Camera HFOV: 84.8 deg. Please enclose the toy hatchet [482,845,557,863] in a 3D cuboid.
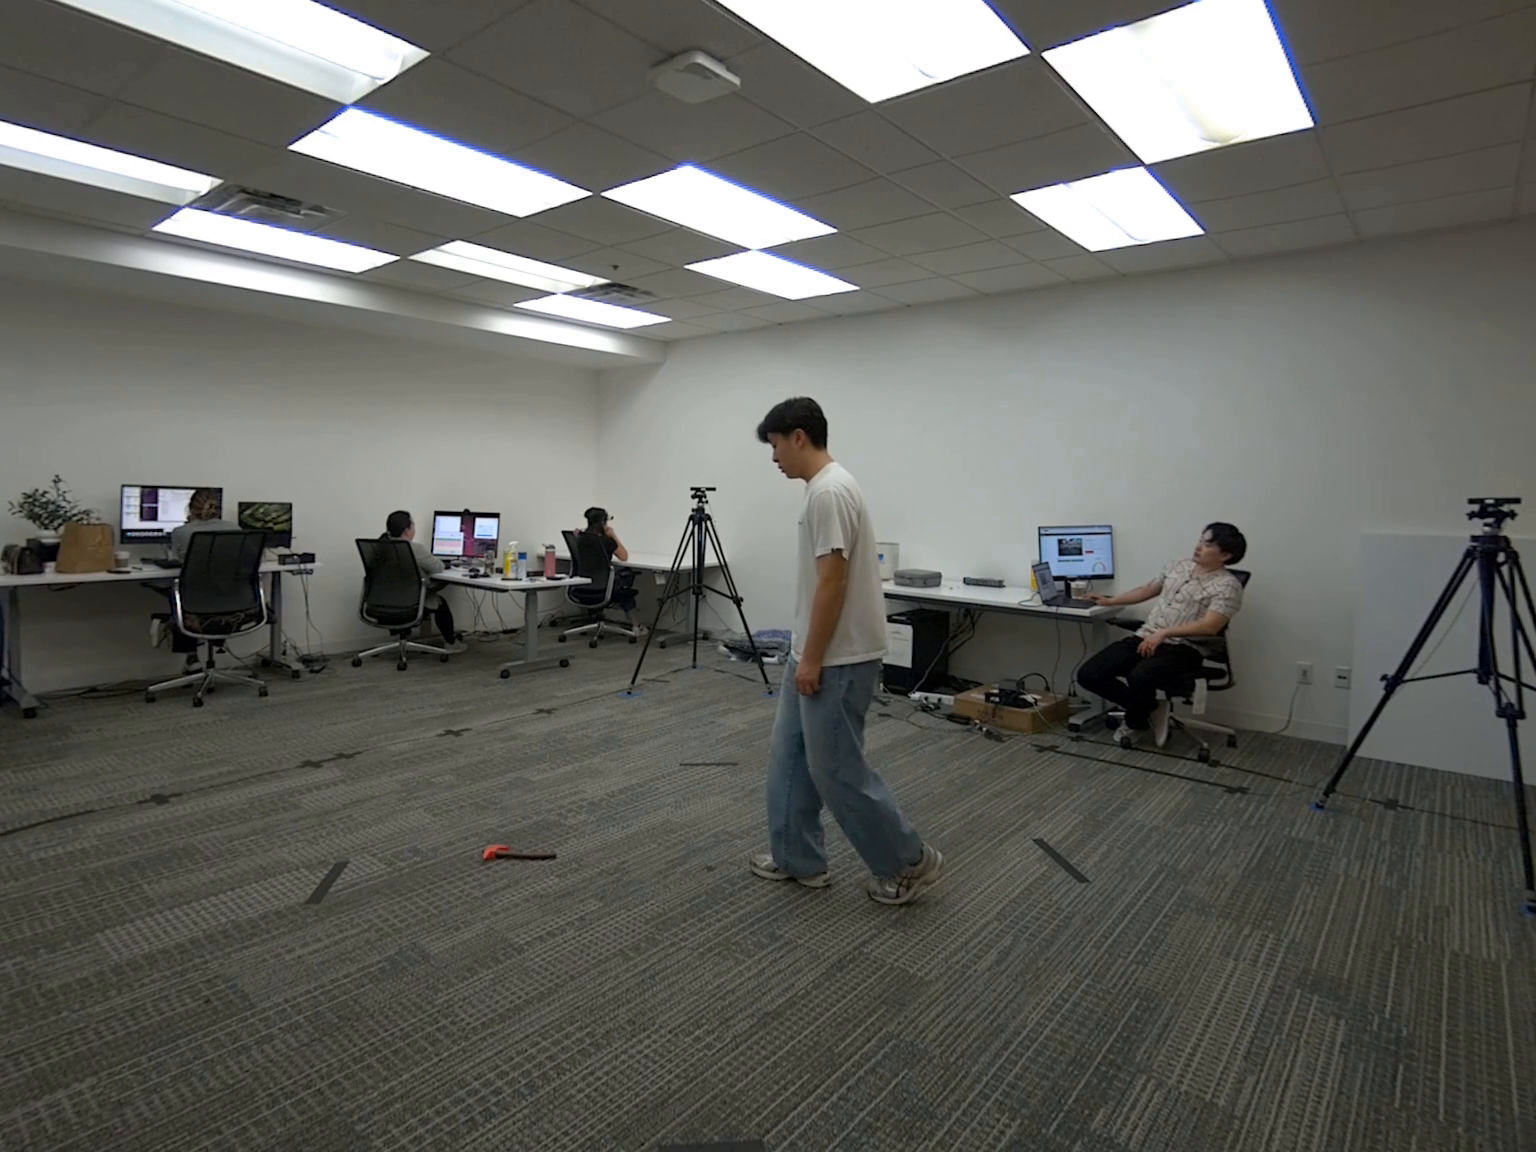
[{"bbox_3d":[-0.944,1.033,3.195,0.267,0.029,0.133,3,1,-12],"label":"toy hatchet"}]
